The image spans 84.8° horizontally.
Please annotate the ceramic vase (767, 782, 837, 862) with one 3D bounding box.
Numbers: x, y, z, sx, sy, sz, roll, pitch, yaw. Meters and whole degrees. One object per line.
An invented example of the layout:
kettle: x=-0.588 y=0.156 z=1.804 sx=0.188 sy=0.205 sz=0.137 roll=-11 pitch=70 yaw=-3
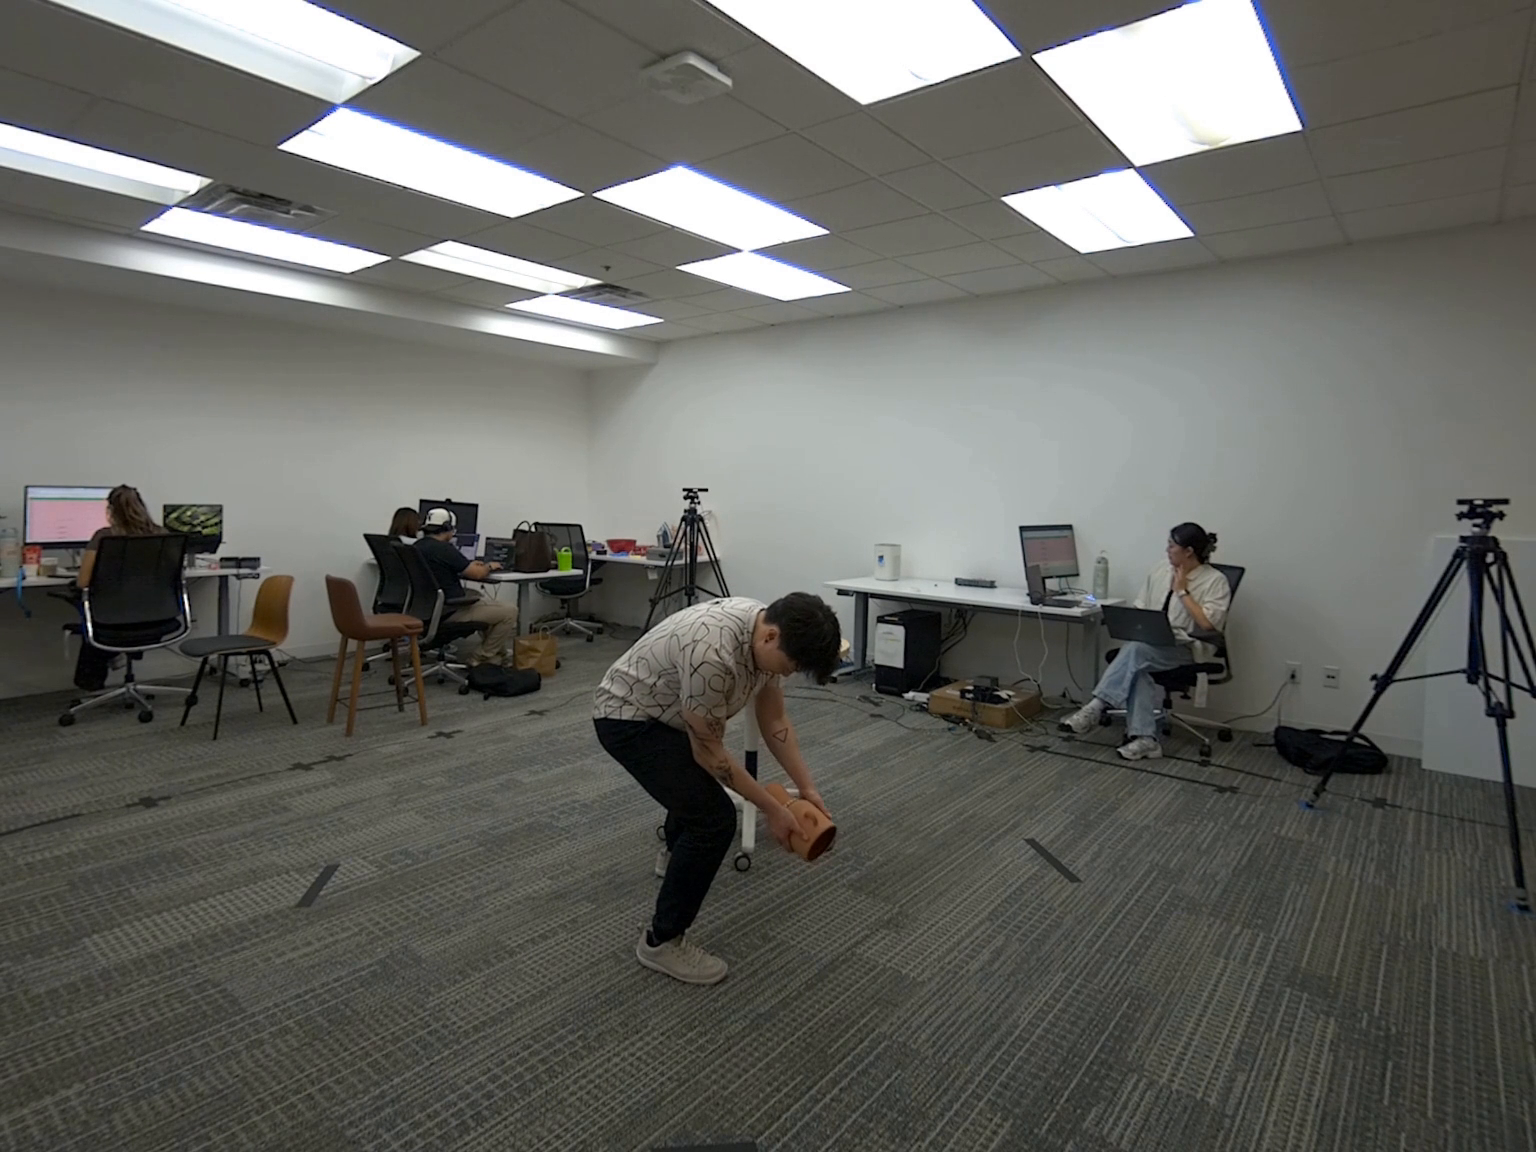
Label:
ceramic vase: x=0.069 y=0.710 z=2.466 sx=0.132 sy=0.155 sz=0.229 roll=-21 pitch=43 yaw=-40
